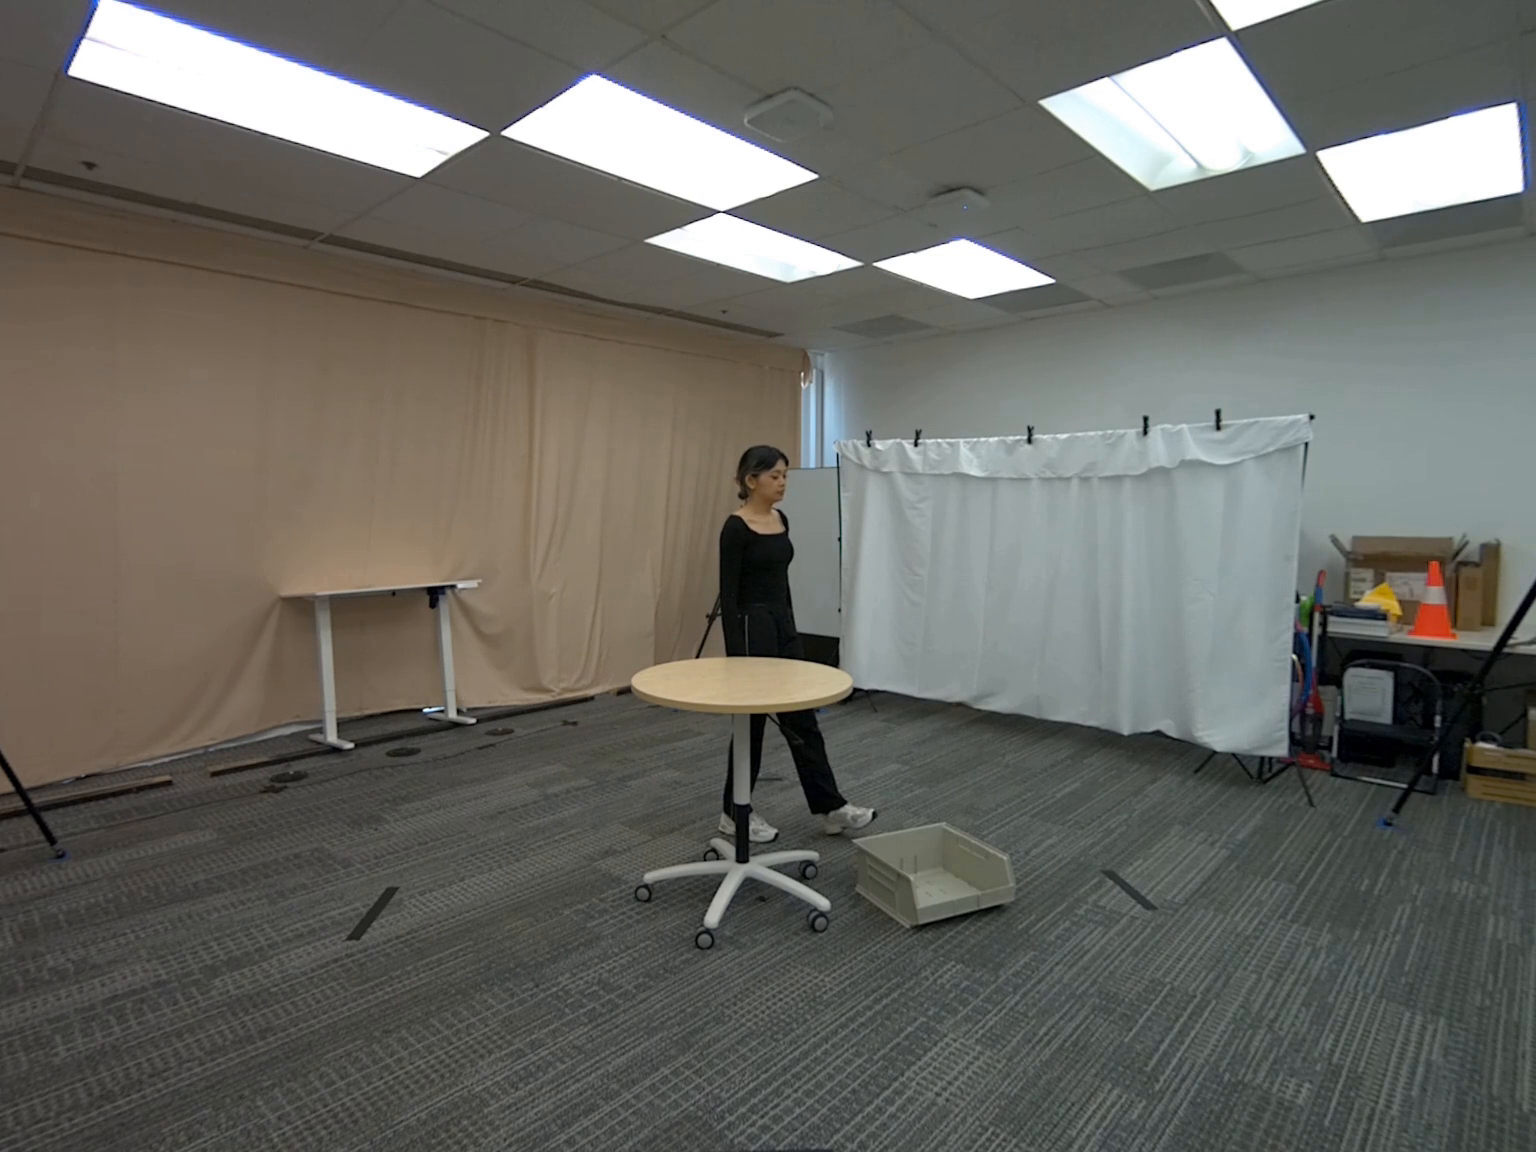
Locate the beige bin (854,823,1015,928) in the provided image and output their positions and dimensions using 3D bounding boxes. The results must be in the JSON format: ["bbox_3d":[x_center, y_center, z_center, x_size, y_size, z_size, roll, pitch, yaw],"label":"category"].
[{"bbox_3d":[0.581,1.055,2.971,0.412,0.188,0.387,-3,5,-26],"label":"beige bin"}]
